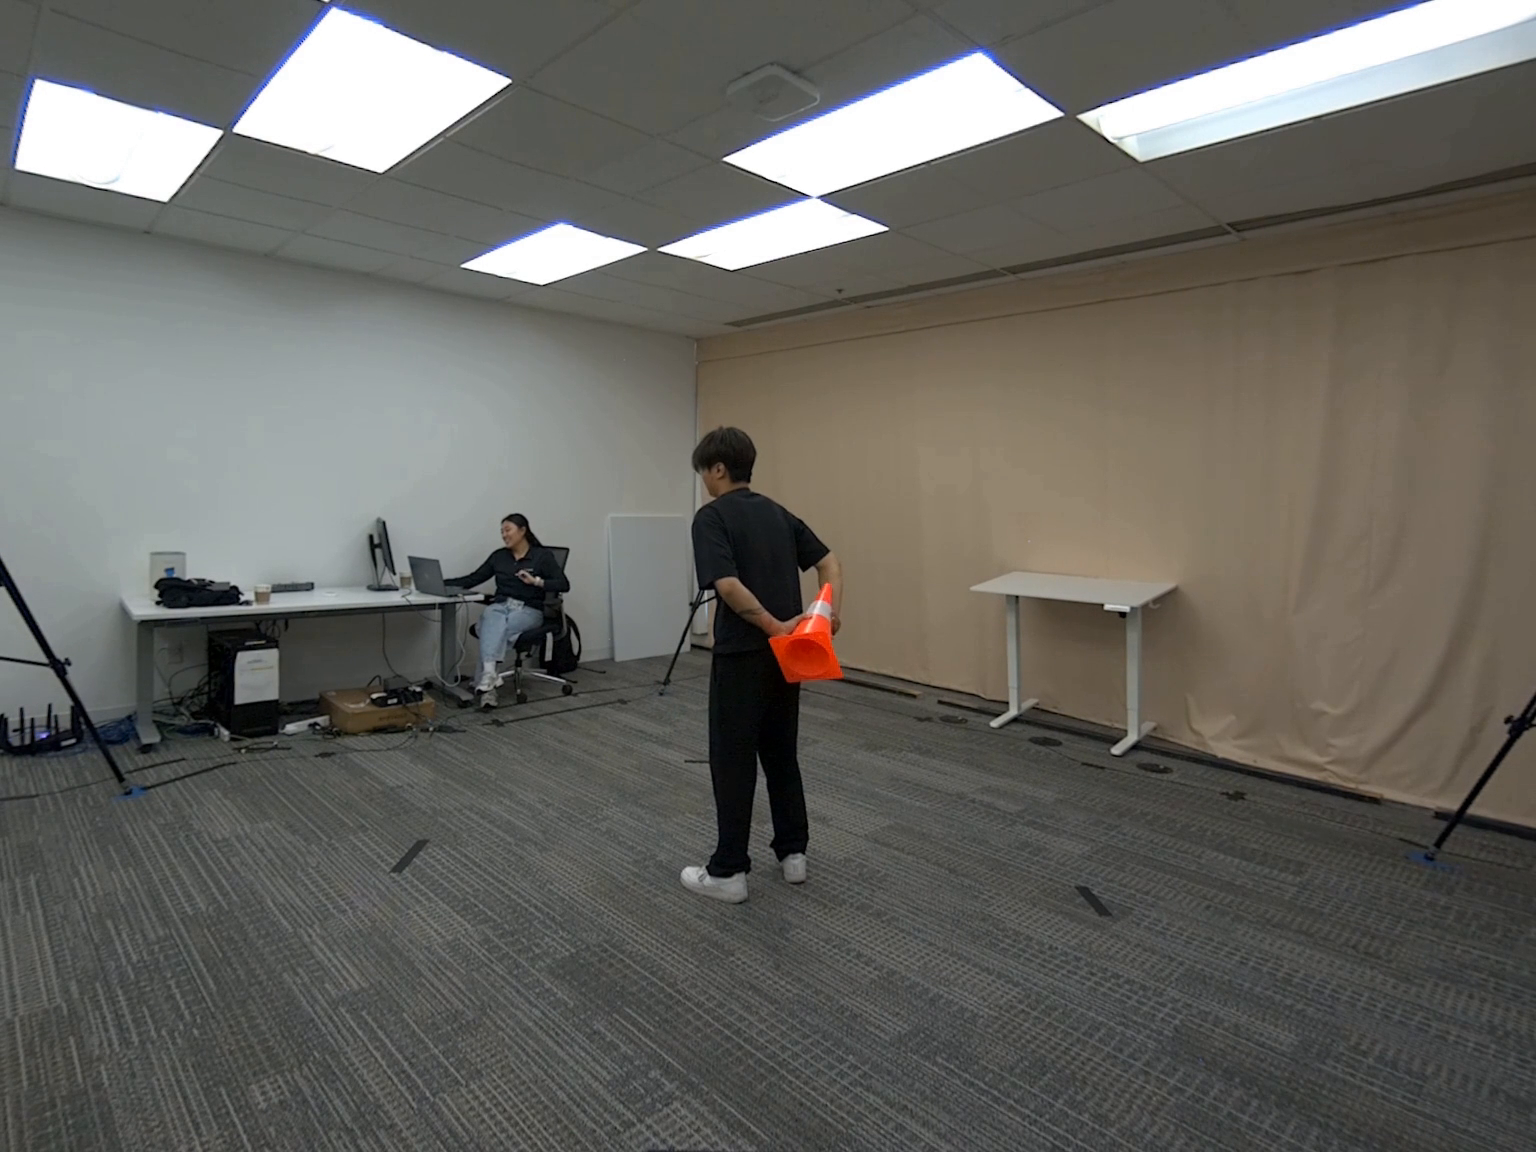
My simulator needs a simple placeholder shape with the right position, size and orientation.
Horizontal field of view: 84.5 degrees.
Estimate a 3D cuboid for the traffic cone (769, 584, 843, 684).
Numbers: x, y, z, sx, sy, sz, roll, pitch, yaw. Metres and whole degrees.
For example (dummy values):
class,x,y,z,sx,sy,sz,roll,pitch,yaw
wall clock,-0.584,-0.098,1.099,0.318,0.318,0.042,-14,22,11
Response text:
class,x,y,z,sx,sy,sz,roll,pitch,yaw
traffic cone,0.170,0.158,2.864,0.206,0.200,0.388,-7,34,19
